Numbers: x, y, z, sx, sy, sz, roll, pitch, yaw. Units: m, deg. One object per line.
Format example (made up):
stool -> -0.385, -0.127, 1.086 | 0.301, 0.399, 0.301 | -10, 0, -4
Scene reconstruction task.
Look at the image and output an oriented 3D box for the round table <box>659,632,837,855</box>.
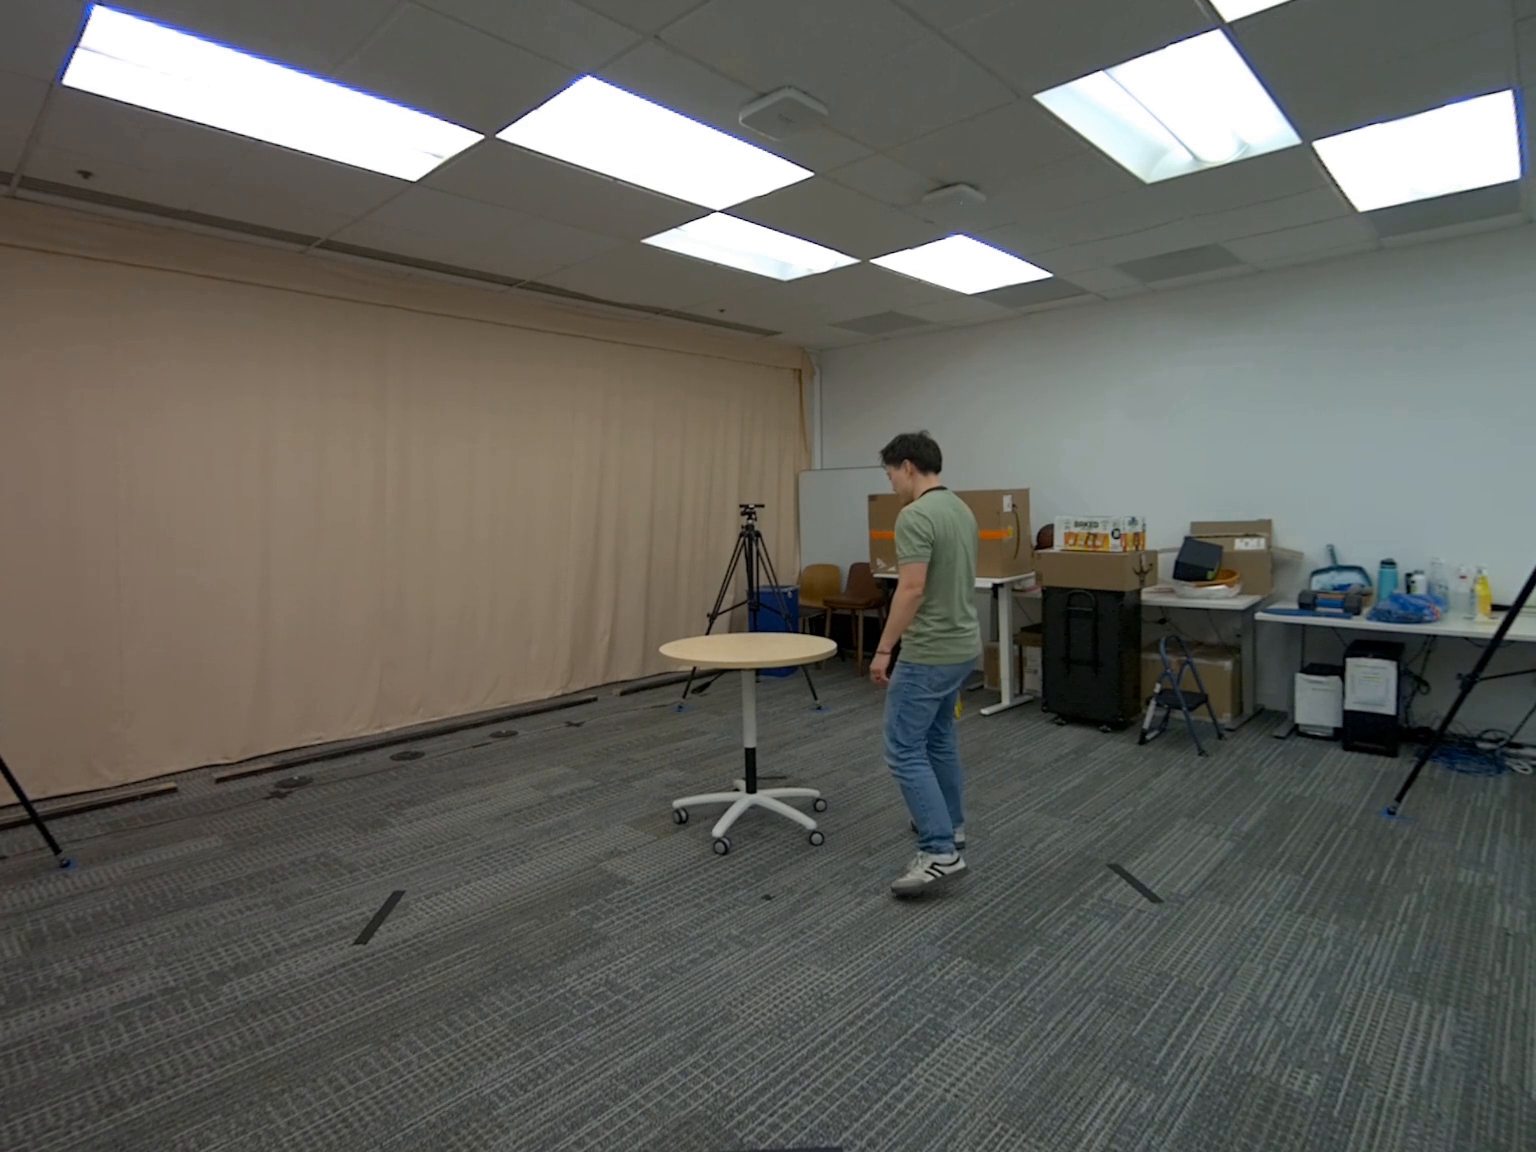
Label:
round table -> -0.067, 0.695, 3.658 | 0.763, 0.792, 0.766 | -2, 3, -2
